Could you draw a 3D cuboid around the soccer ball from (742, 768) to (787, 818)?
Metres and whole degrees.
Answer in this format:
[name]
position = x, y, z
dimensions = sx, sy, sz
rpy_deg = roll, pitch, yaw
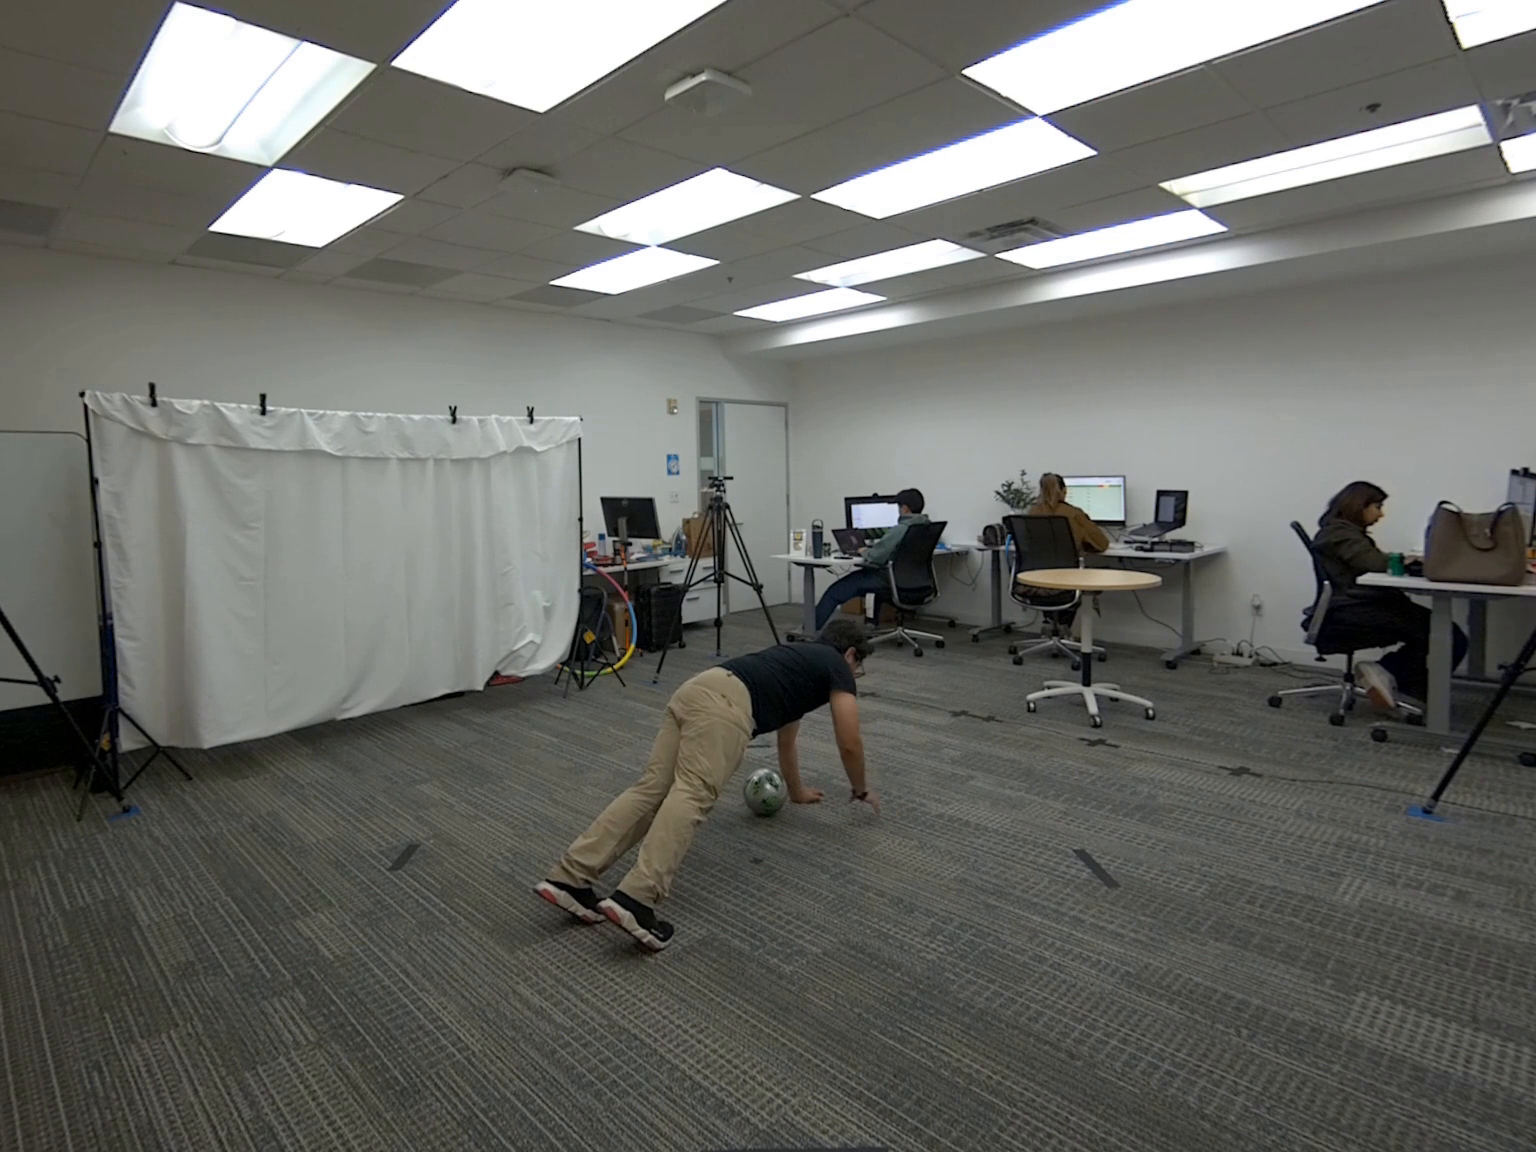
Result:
[soccer ball]
position = -0.015, 0.896, 3.542
dimensions = 0.187, 0.187, 0.188
rpy_deg = -1, 5, -2
